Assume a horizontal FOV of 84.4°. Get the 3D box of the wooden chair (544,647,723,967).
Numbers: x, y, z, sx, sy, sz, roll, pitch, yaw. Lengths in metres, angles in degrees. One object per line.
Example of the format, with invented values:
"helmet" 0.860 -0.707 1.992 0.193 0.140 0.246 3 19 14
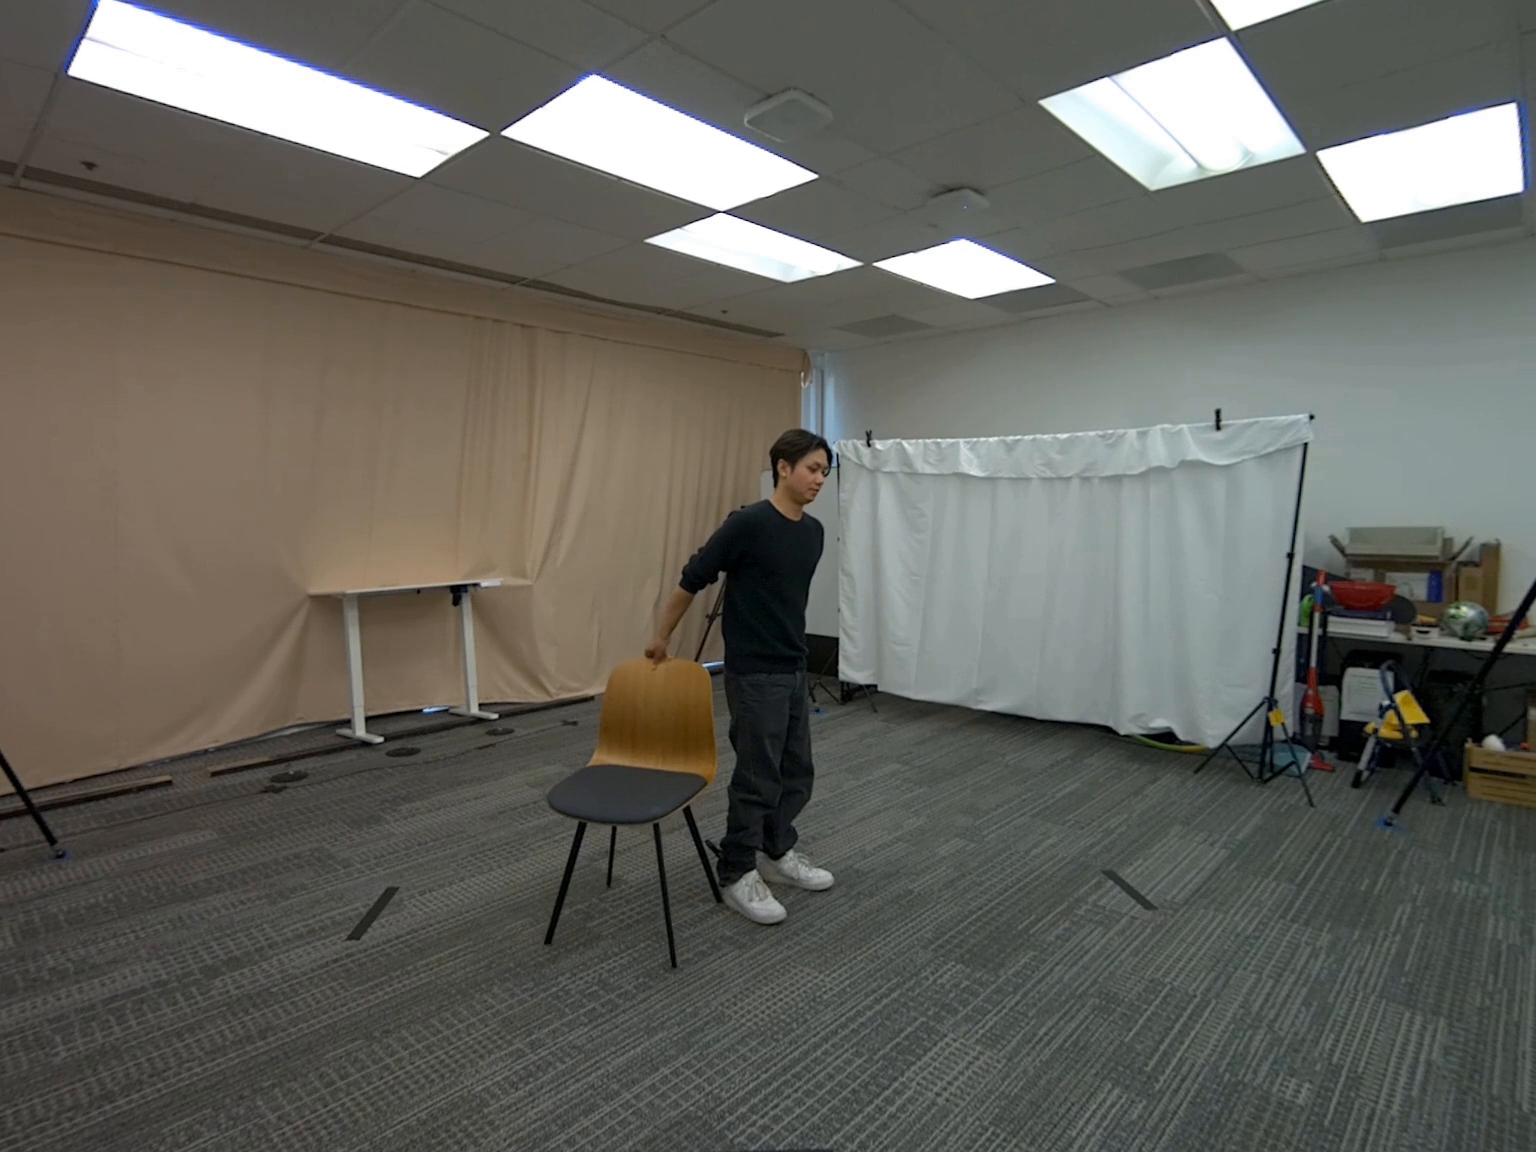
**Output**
"wooden chair" -0.431 0.738 2.776 0.487 0.878 0.513 1 -1 17
